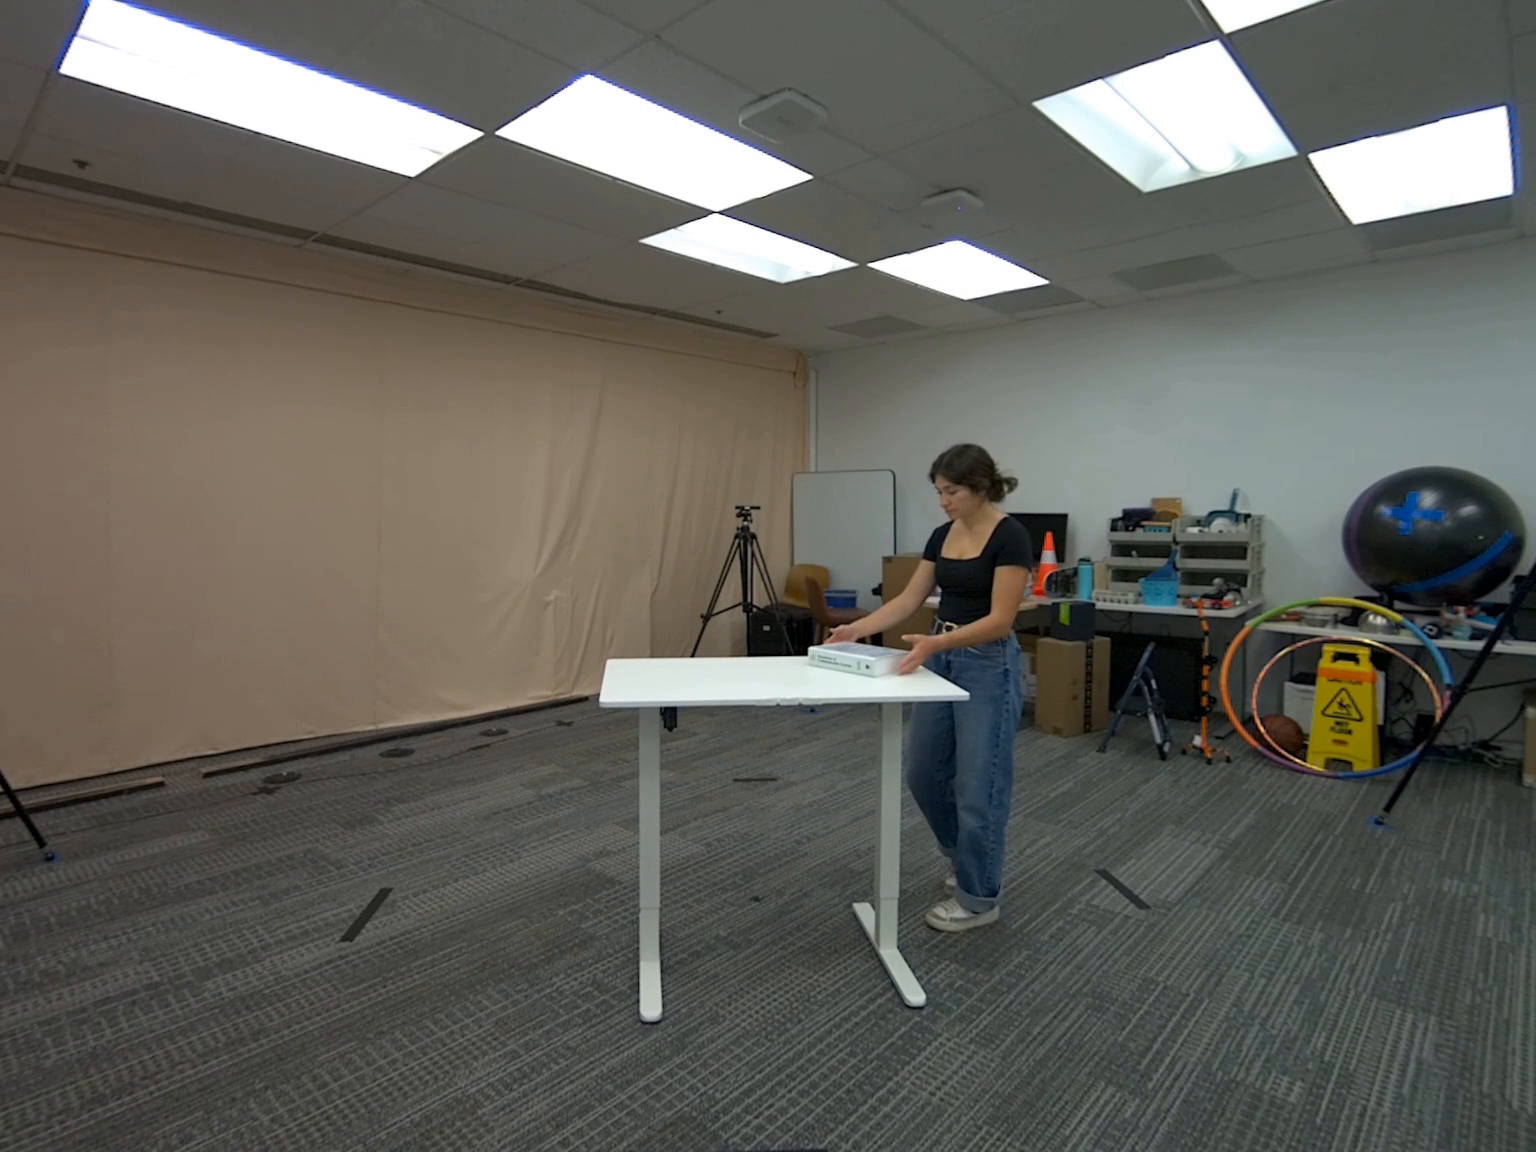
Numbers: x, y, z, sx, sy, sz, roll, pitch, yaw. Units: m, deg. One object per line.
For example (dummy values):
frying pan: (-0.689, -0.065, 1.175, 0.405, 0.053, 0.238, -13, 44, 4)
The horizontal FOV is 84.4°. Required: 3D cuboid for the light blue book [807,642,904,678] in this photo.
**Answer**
light blue book: (0.297, 0.266, 2.659, 0.185, 0.059, 0.270, -4, 6, -43)
